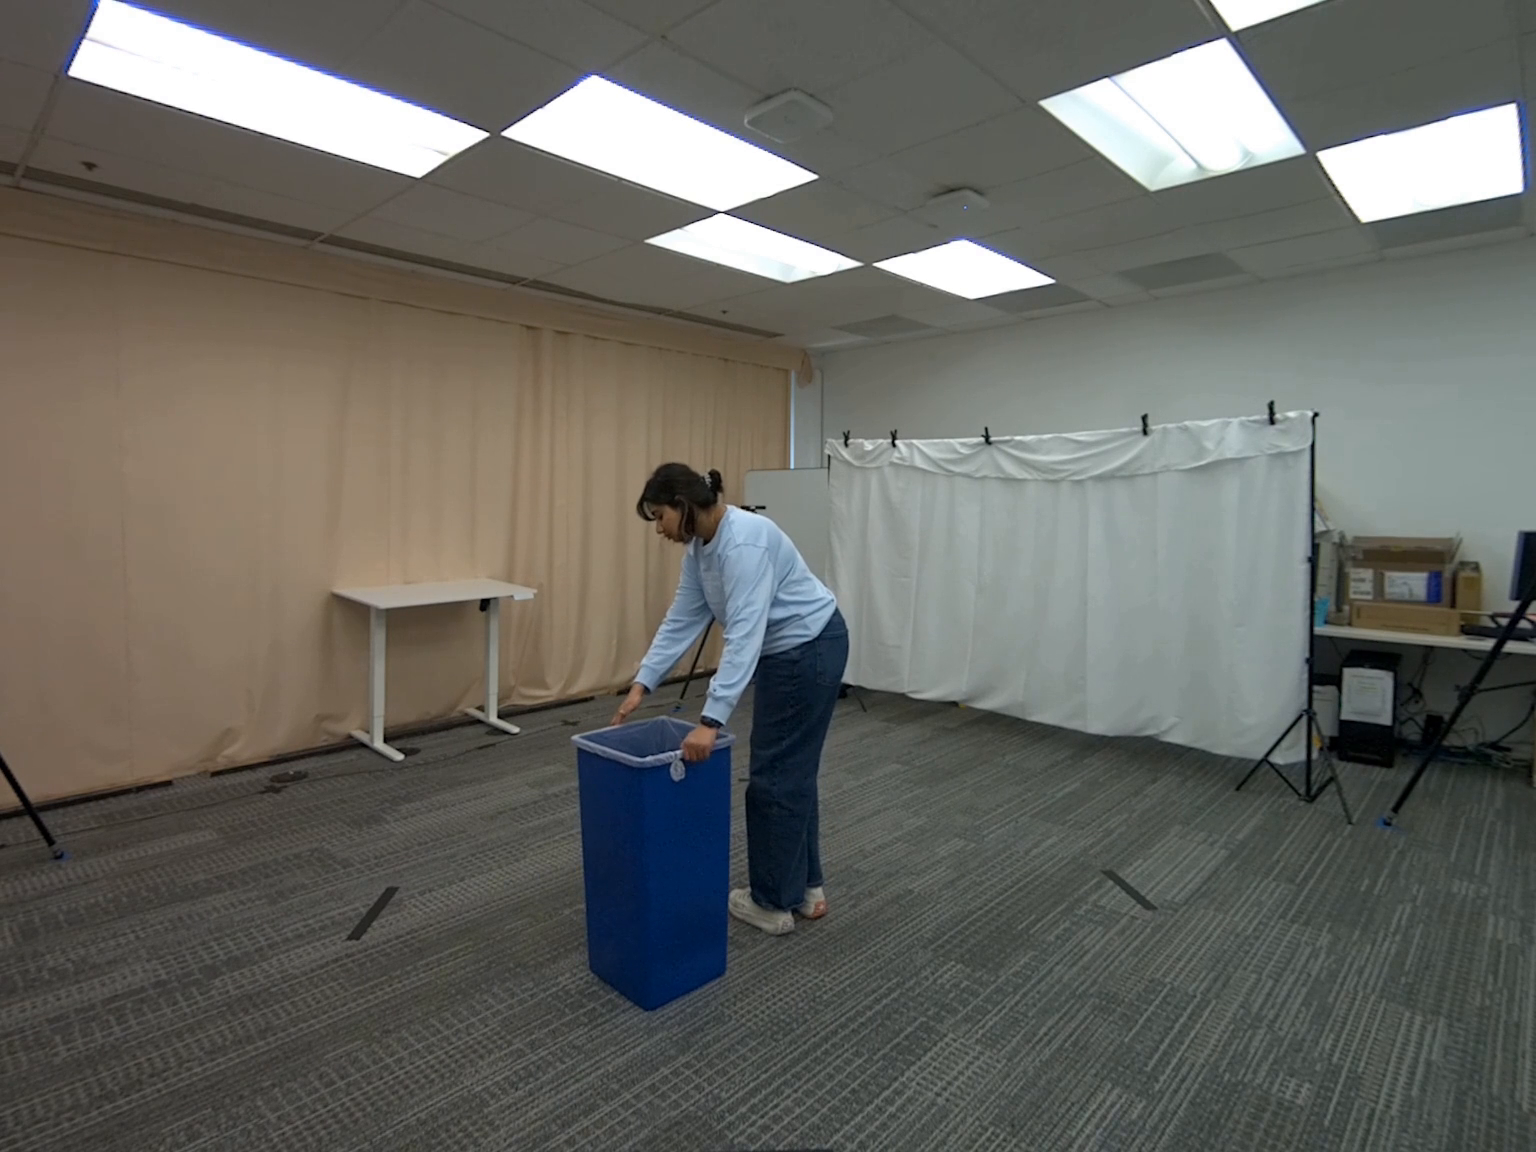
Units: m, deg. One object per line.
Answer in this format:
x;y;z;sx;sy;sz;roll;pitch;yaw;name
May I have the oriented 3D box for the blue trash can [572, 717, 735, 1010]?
-0.341;0.831;2.506;0.366;0.712;0.386;-3;4;-44;blue trash can
